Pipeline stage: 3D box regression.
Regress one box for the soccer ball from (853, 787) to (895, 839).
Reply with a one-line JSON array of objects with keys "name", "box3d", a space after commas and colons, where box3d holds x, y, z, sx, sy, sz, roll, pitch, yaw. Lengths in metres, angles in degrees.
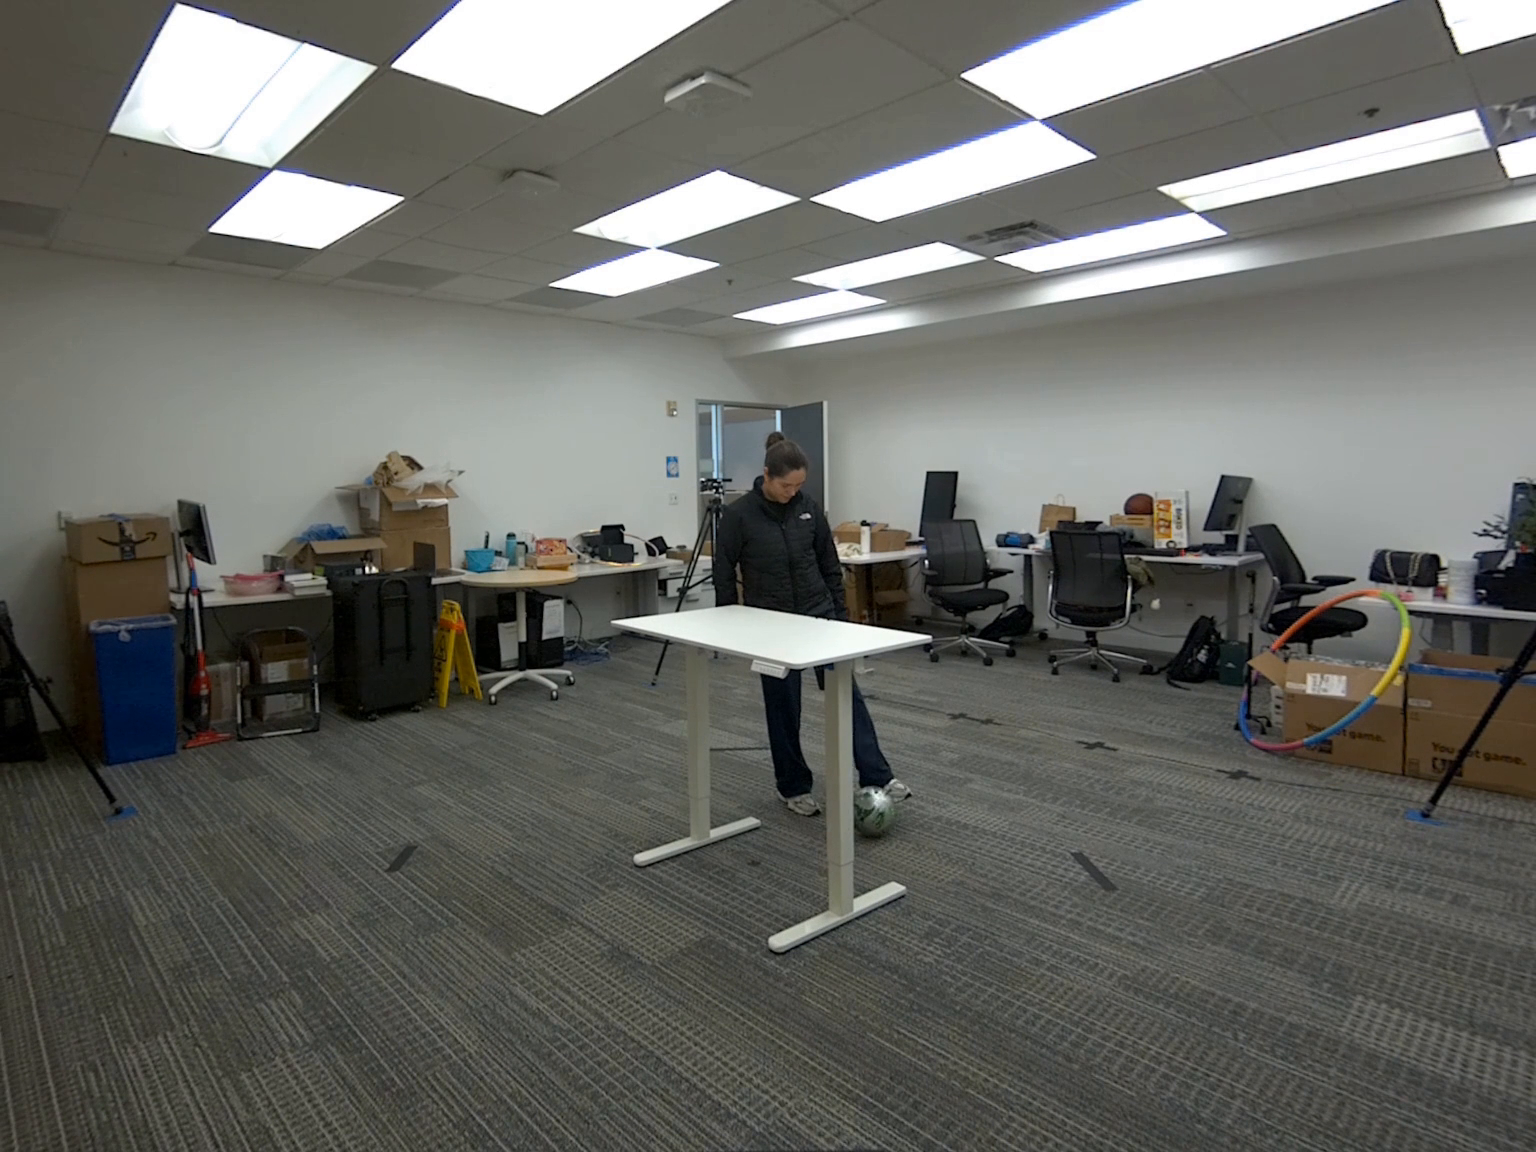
[{"name": "soccer ball", "box3d": [0.408, 0.918, 3.330, 0.187, 0.187, 0.188, -1, 5, -2]}]
